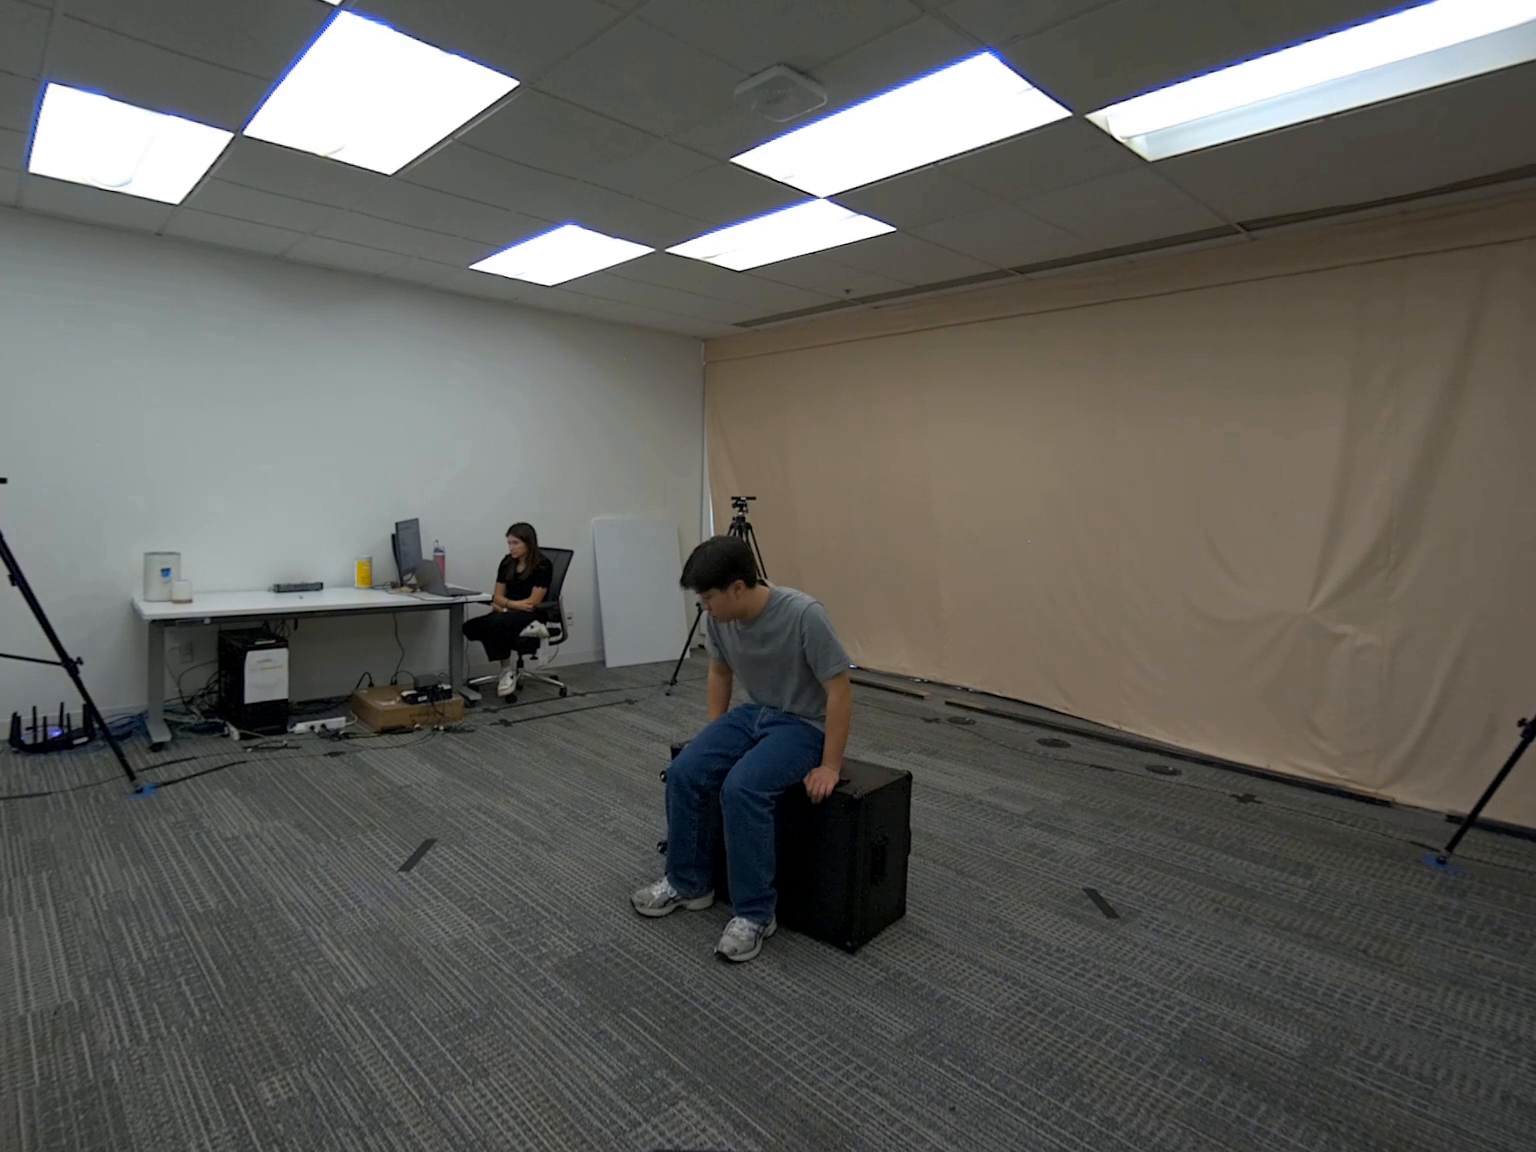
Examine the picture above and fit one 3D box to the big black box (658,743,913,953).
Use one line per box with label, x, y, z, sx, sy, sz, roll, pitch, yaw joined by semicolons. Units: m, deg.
big black box;0.034;0.867;2.967;0.882;0.520;0.387;5;3;37
